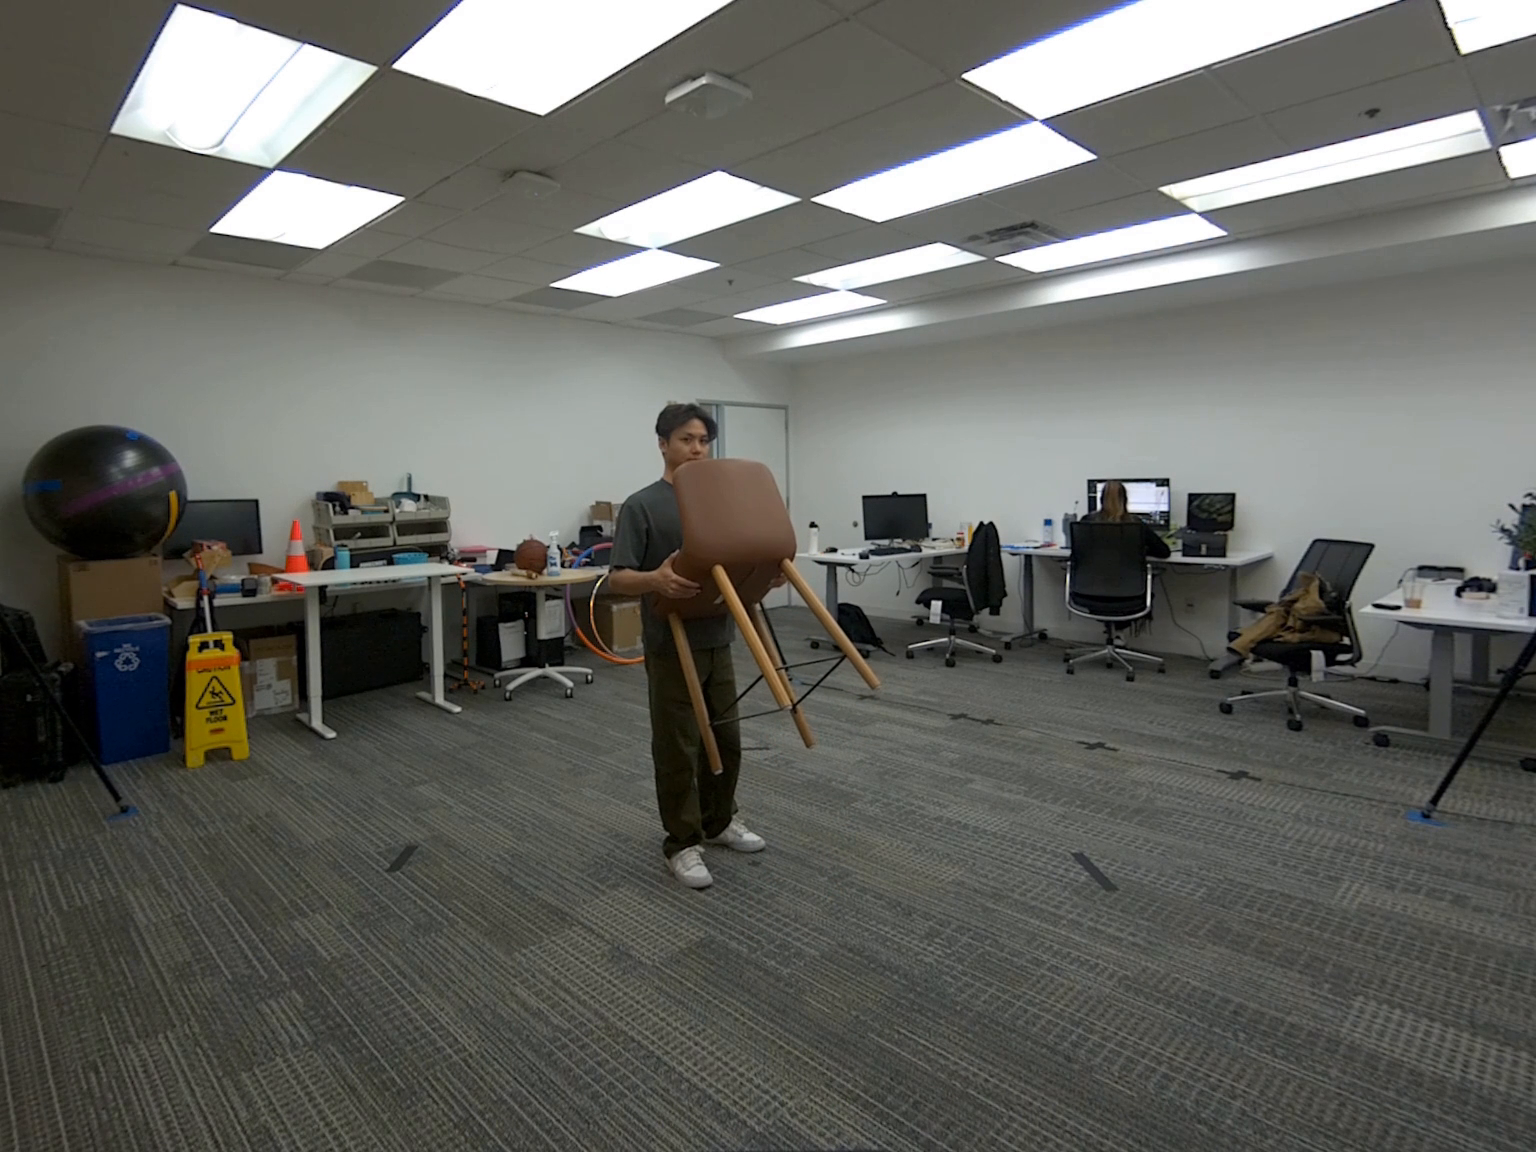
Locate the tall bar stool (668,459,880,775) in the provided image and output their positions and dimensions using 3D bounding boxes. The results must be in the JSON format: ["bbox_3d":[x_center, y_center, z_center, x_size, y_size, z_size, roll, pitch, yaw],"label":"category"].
[{"bbox_3d":[-0.078,0.107,2.806,0.445,0.915,0.466,-5,-31,-36],"label":"tall bar stool"}]
